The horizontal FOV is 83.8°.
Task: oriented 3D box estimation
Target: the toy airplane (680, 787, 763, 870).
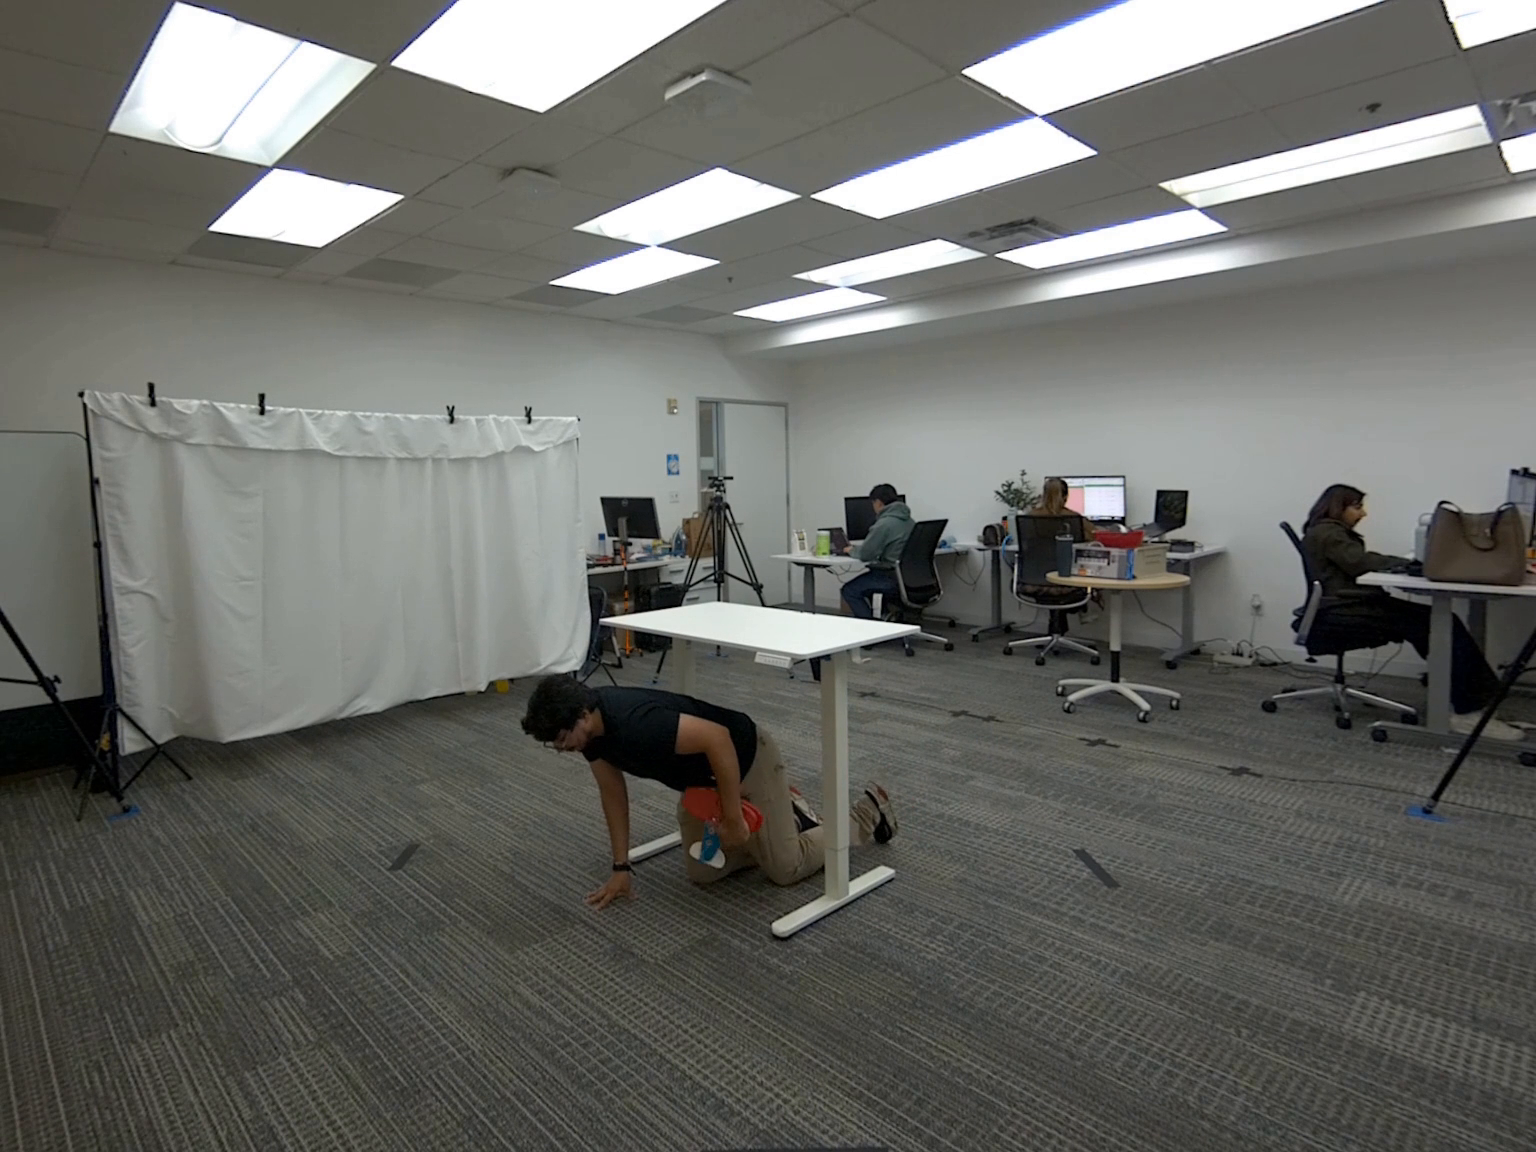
[{"bbox_3d":[-0.157,0.801,2.748,0.252,0.266,0.152,-8,-28,4],"label":"toy airplane"}]
